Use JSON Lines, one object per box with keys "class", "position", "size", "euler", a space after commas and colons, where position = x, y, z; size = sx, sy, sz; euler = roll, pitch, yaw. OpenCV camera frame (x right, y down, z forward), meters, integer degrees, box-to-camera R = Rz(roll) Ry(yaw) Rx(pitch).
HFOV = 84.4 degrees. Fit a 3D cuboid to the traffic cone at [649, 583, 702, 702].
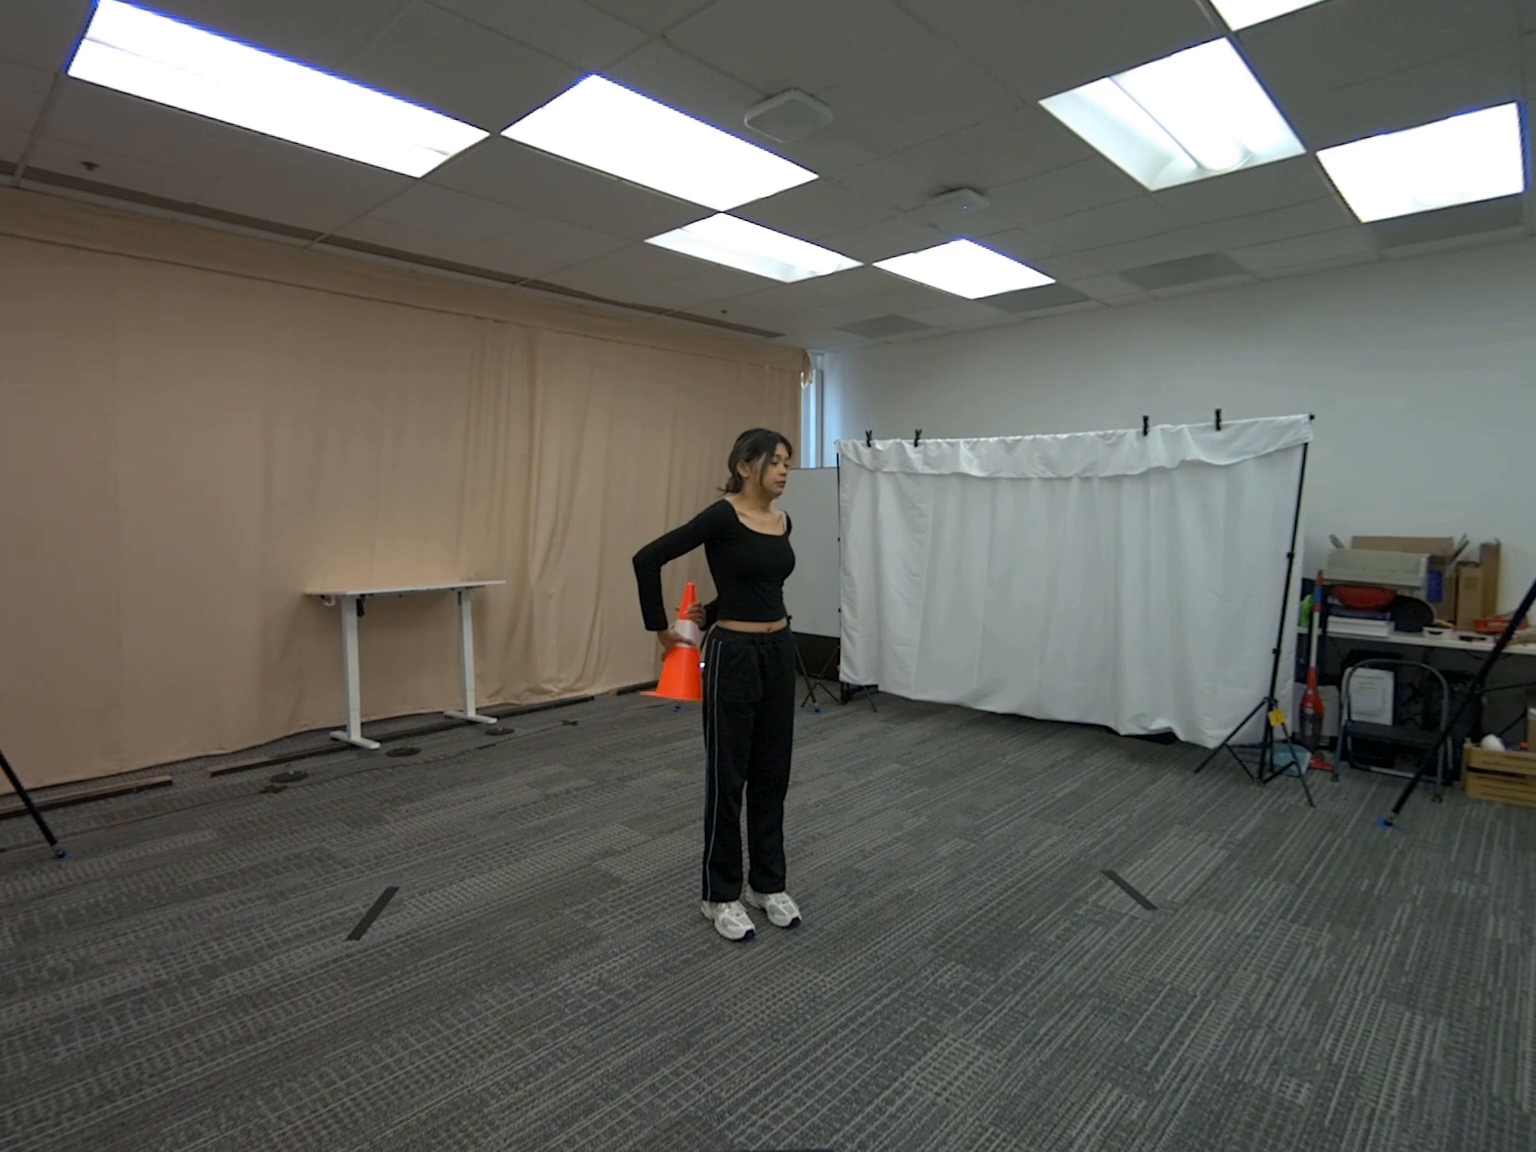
{"class": "traffic cone", "position": [-0.278, 0.222, 2.851], "size": [0.210, 0.385, 0.198], "euler": [1, -6, 36]}
